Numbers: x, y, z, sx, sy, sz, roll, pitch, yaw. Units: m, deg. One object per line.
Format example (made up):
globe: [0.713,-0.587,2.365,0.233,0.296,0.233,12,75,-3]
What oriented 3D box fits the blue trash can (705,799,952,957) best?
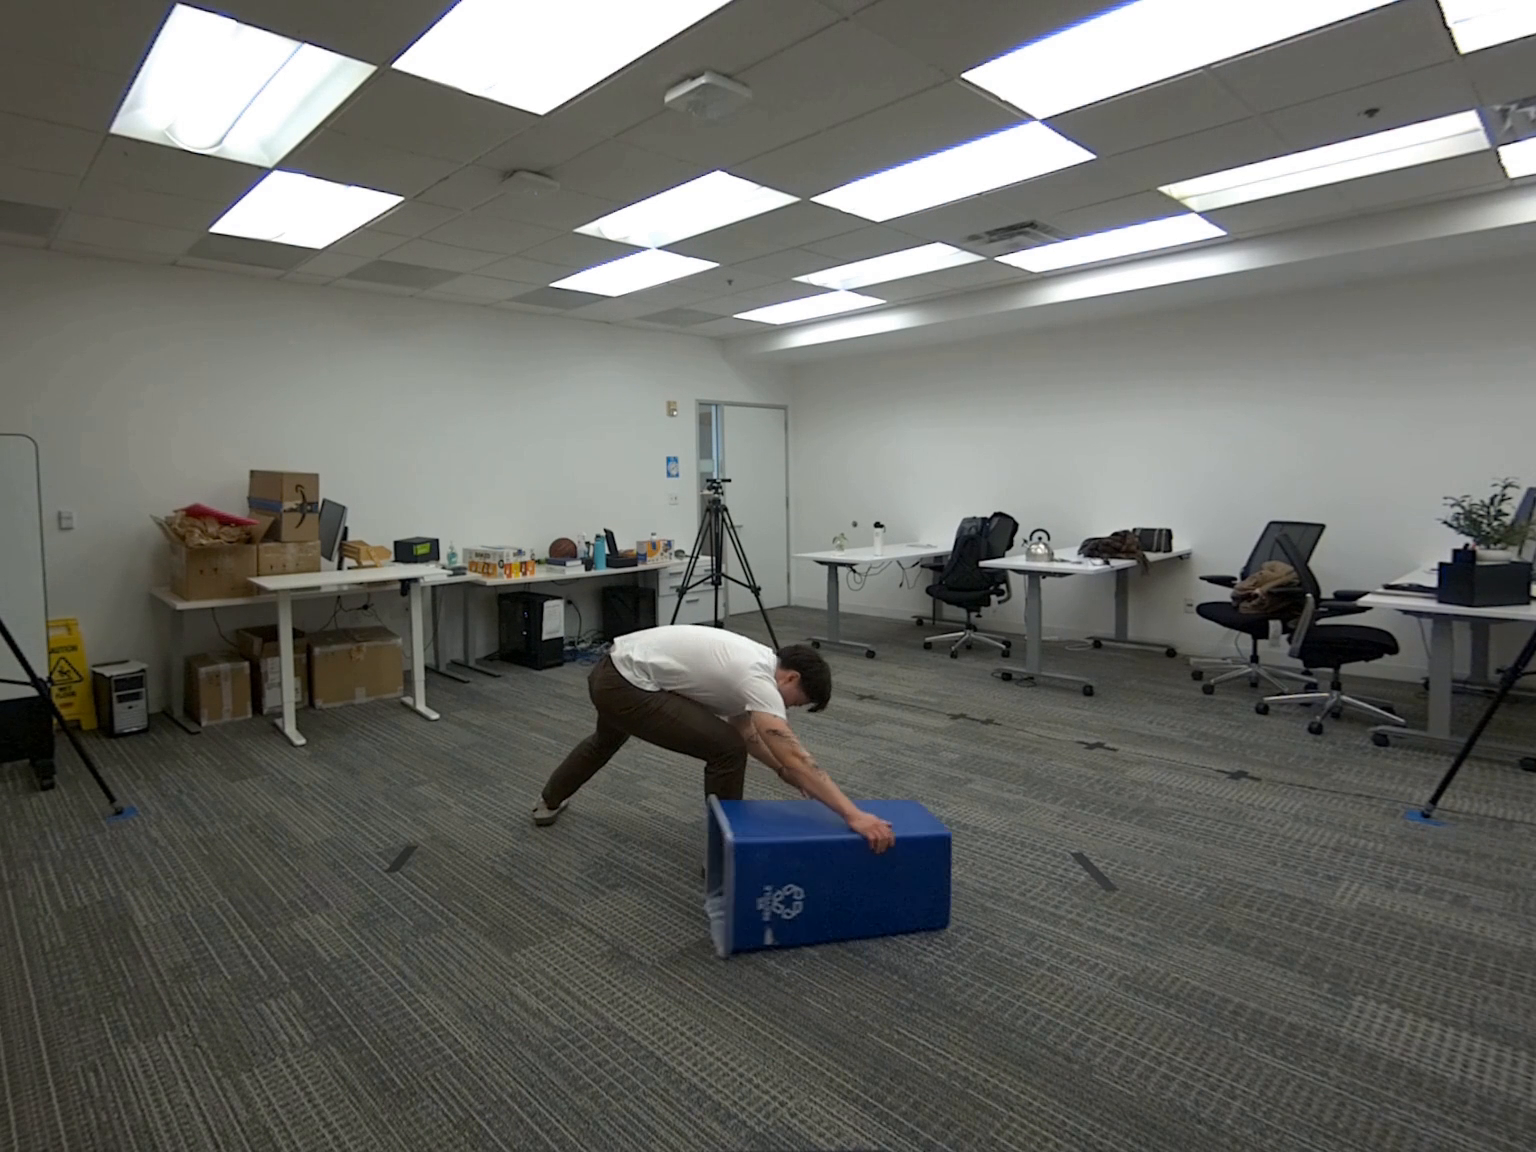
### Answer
blue trash can: [0.177,0.914,2.719,0.706,0.377,0.379,0,4,-11]
